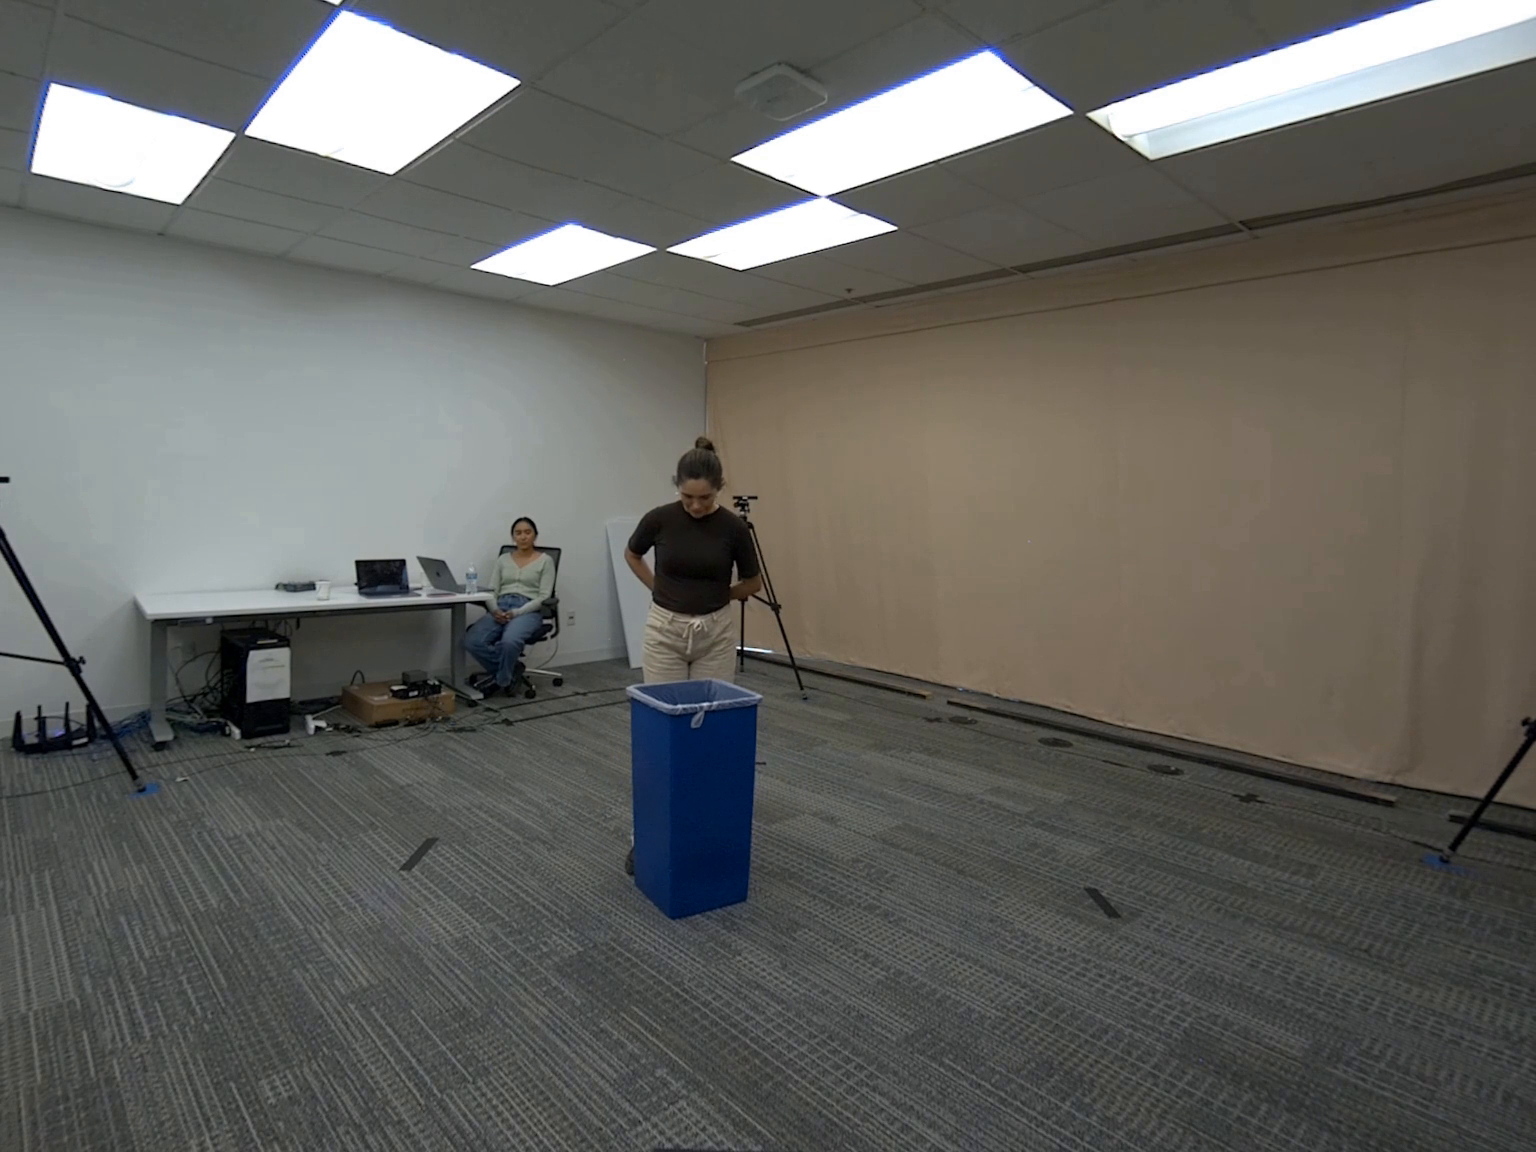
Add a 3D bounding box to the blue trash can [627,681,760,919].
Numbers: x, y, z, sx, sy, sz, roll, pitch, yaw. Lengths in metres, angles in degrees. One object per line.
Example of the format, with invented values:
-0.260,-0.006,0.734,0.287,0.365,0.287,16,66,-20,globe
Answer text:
-0.270,0.759,2.946,0.366,0.712,0.387,-1,4,-32,blue trash can
